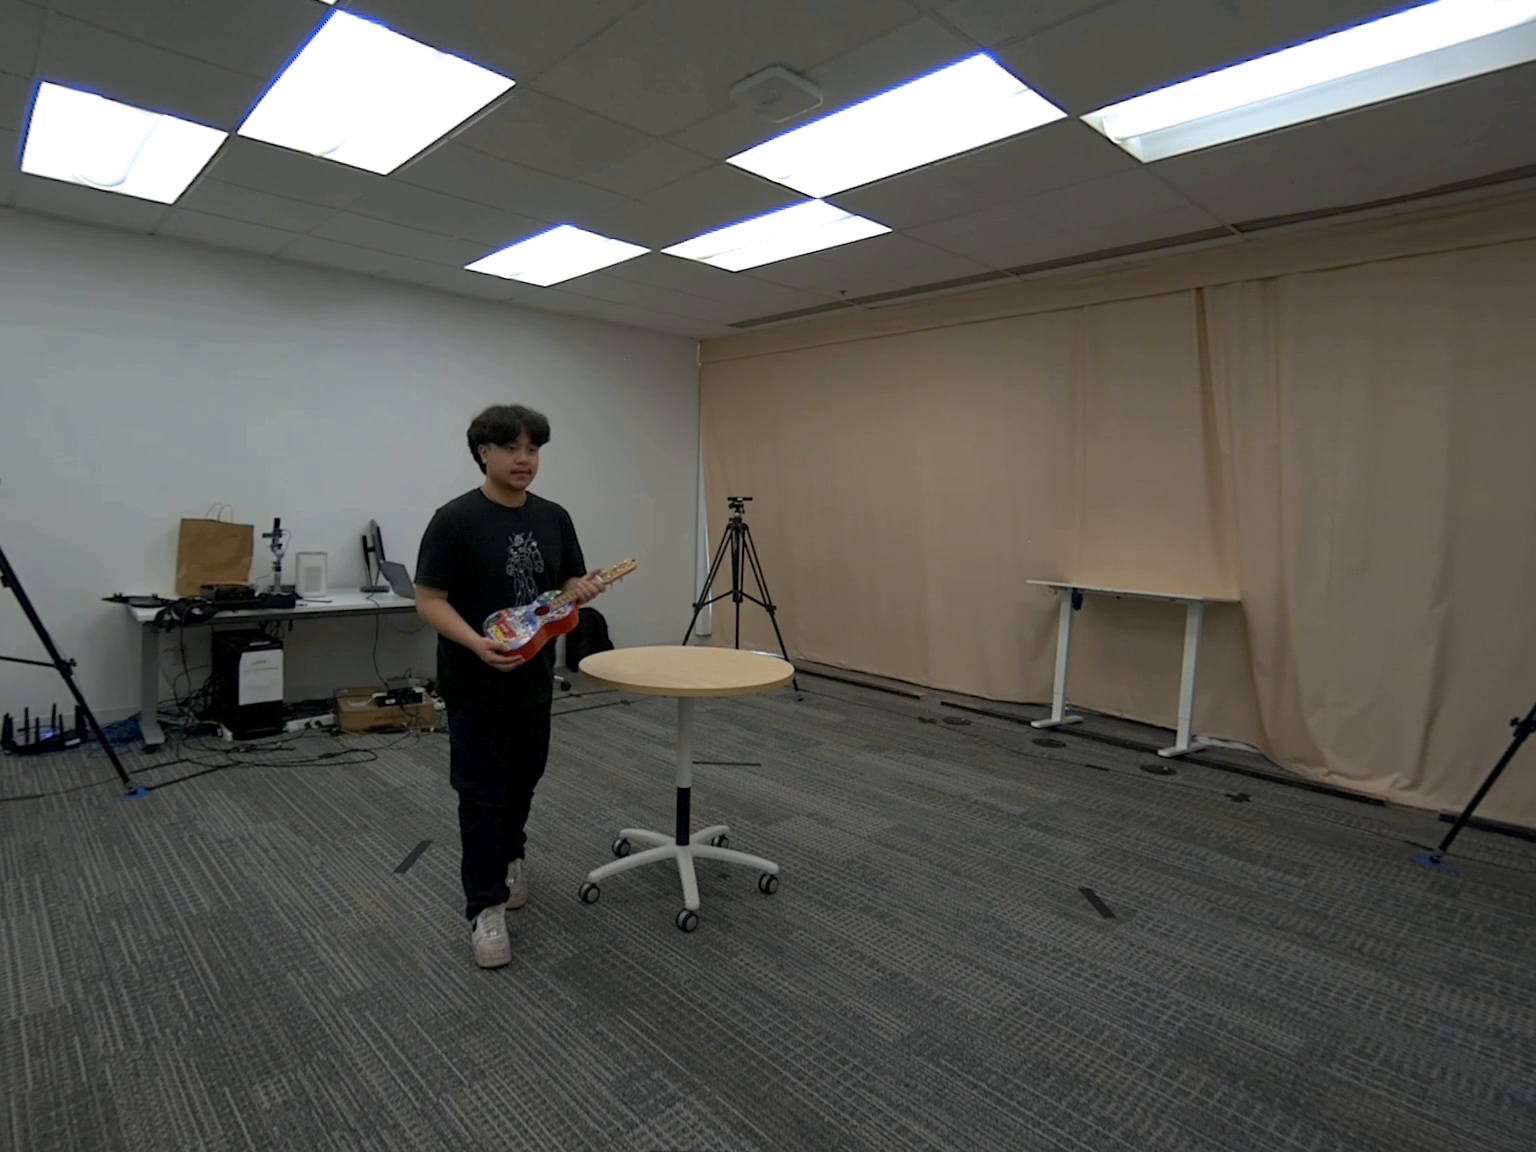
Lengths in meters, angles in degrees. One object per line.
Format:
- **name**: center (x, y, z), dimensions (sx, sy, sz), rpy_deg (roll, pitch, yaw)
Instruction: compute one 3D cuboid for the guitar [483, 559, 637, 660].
- **guitar**: center (-0.625, 0.105, 2.502), dimensions (0.494, 0.069, 0.199), rpy_deg (-25, 45, -18)
